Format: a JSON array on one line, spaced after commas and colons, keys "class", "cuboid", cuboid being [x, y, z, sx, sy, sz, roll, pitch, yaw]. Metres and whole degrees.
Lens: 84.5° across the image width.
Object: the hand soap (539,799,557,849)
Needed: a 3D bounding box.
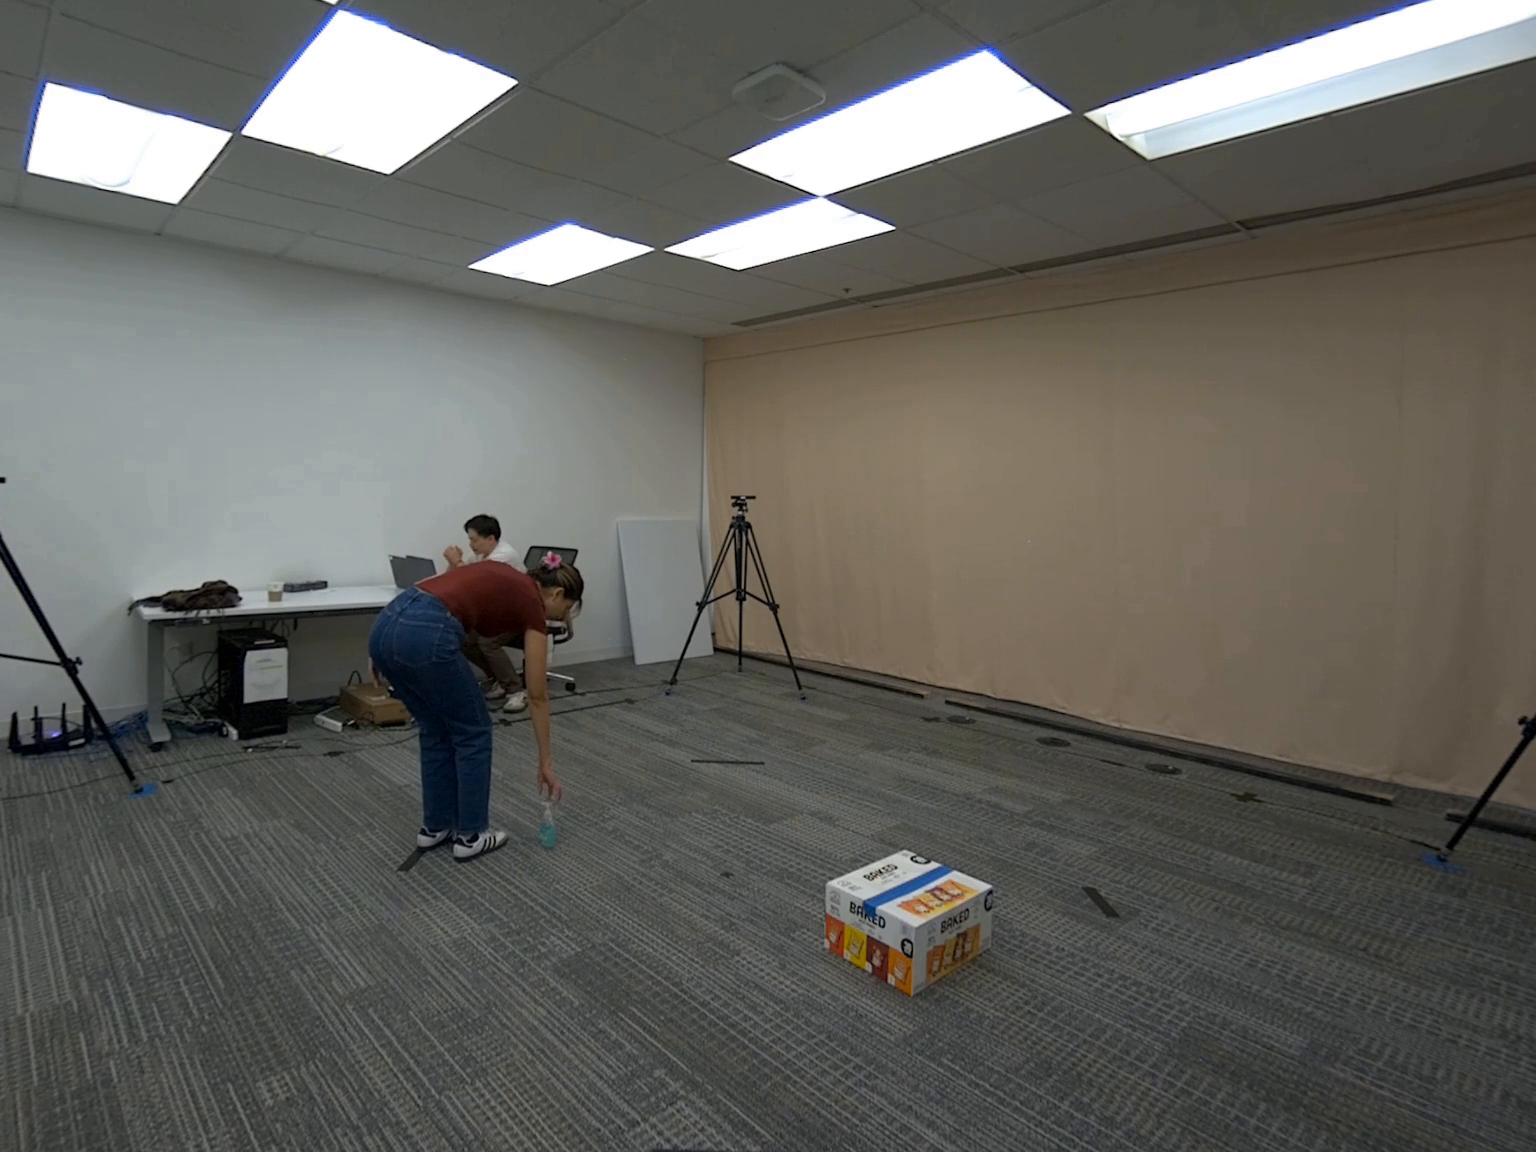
[{"class": "hand soap", "cuboid": [-0.886, 0.988, 3.324, 0.086, 0.167, 0.043, 2, 7, 26]}]
